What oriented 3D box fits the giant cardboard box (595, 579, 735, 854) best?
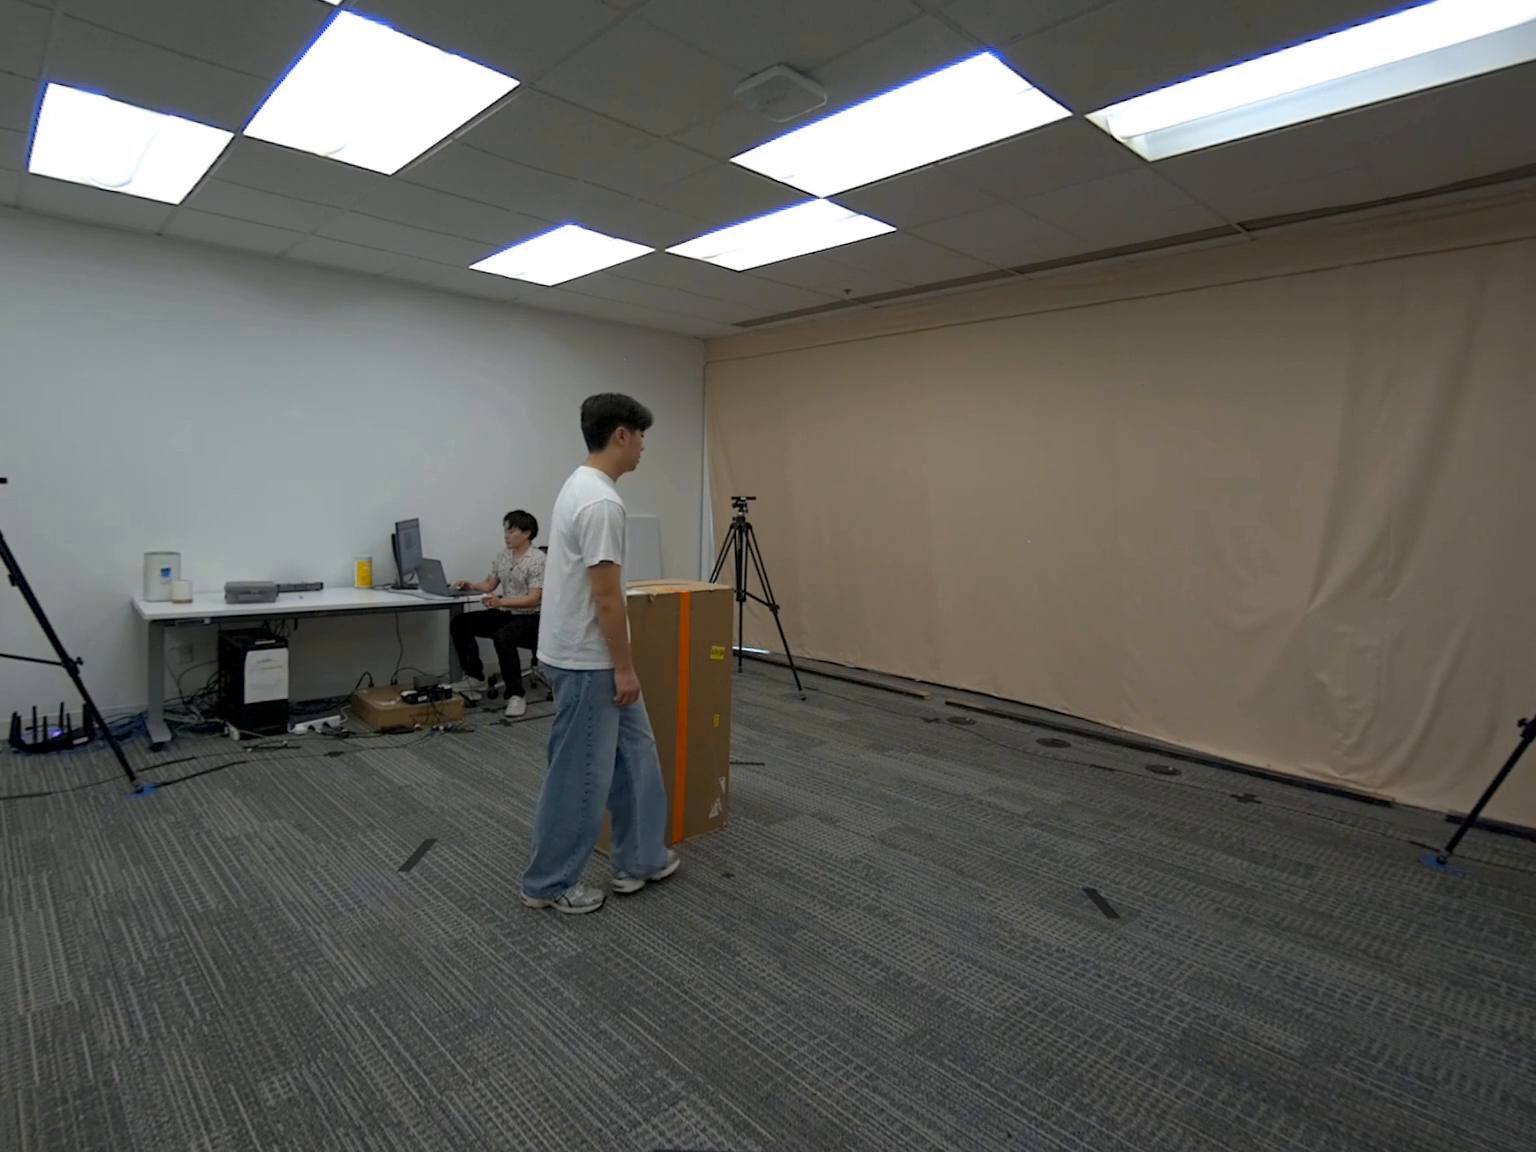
[{"bbox_3d":[-0.508,0.553,3.514,0.564,1.023,0.437,-2,5,-44],"label":"giant cardboard box"}]
